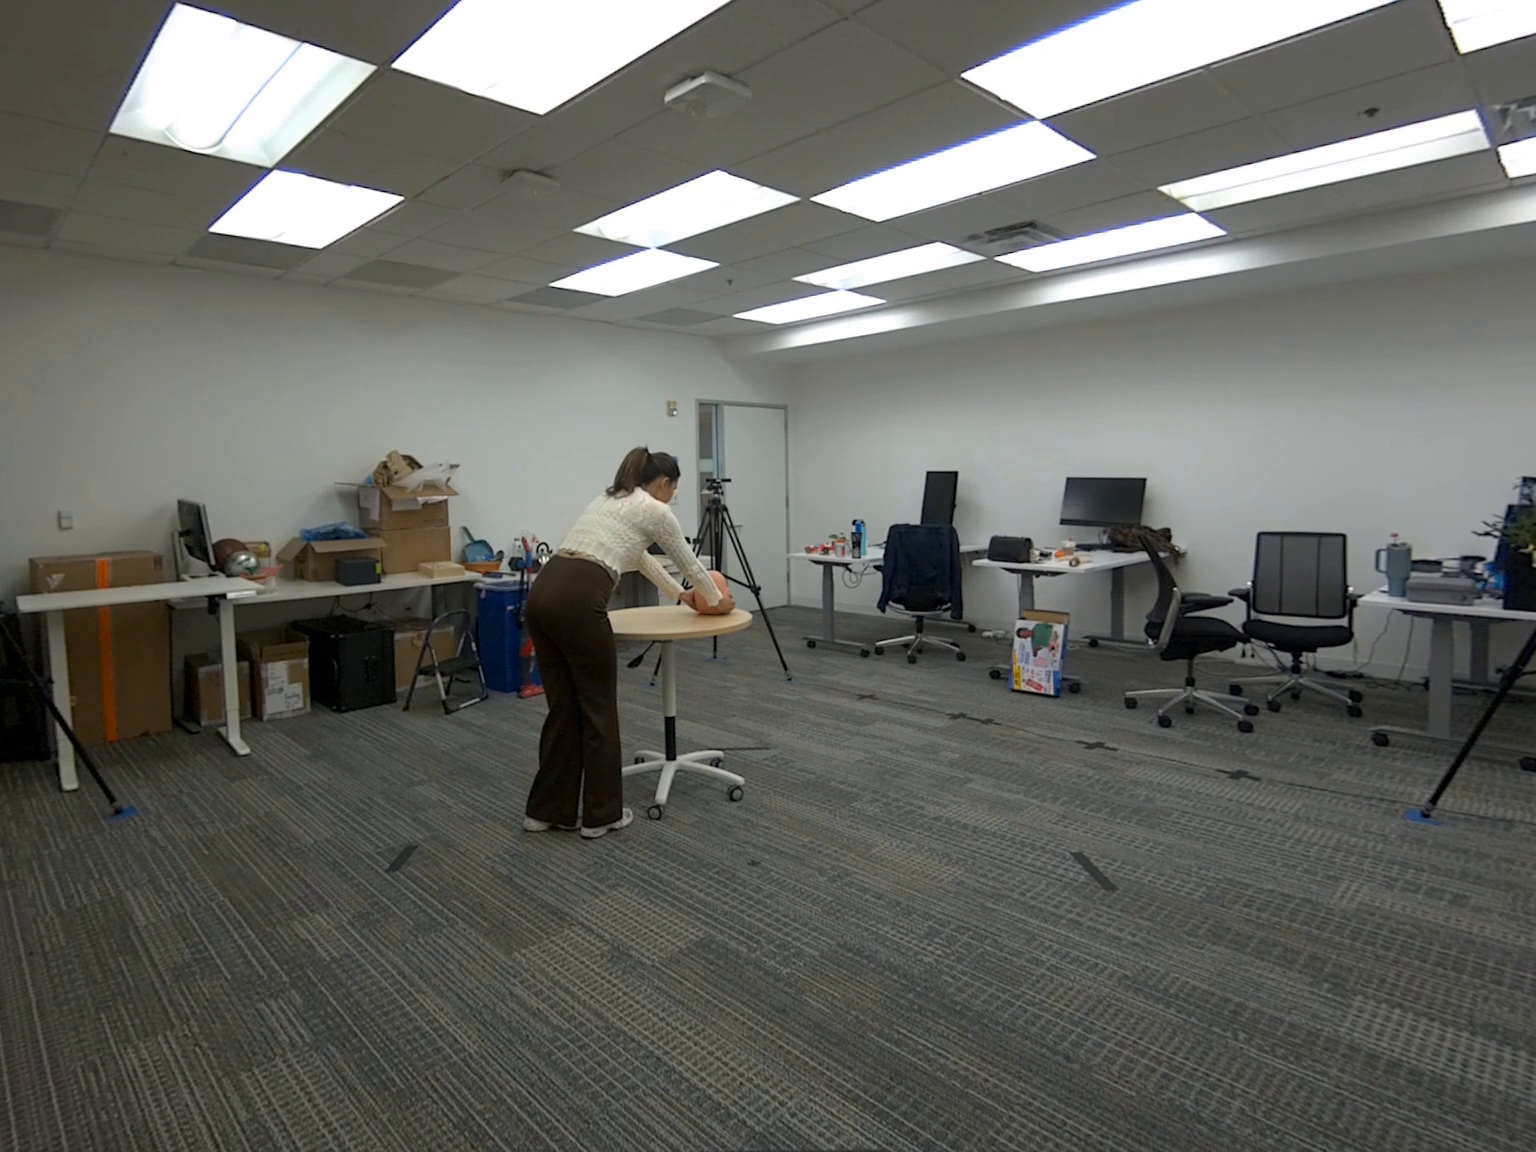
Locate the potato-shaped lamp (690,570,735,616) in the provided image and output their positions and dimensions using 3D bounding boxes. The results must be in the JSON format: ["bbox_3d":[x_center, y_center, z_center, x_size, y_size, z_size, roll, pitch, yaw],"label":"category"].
[{"bbox_3d":[-0.255,0.075,3.906,0.170,0.197,0.167,4,7,44],"label":"potato-shaped lamp"}]
